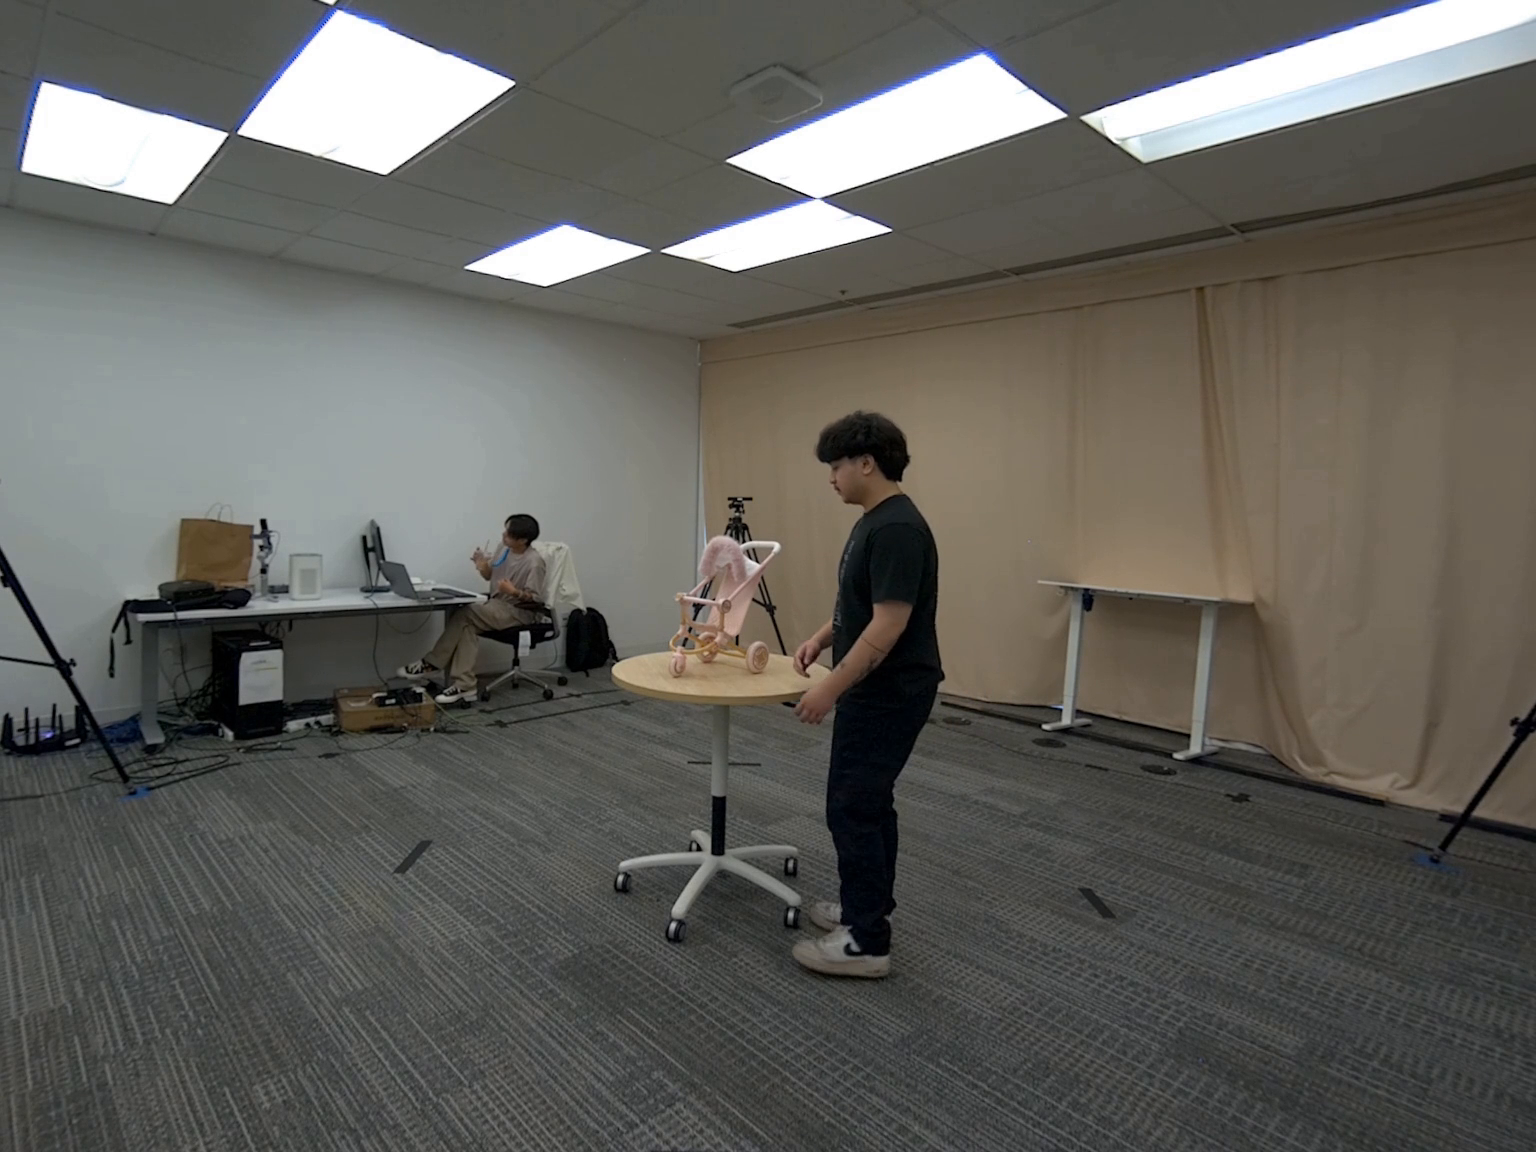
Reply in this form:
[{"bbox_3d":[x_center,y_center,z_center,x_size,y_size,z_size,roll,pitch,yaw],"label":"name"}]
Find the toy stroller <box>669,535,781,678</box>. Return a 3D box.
[{"bbox_3d":[-0.176,0.102,2.928,0.331,0.537,0.288,17,-9,-42],"label":"toy stroller"}]
